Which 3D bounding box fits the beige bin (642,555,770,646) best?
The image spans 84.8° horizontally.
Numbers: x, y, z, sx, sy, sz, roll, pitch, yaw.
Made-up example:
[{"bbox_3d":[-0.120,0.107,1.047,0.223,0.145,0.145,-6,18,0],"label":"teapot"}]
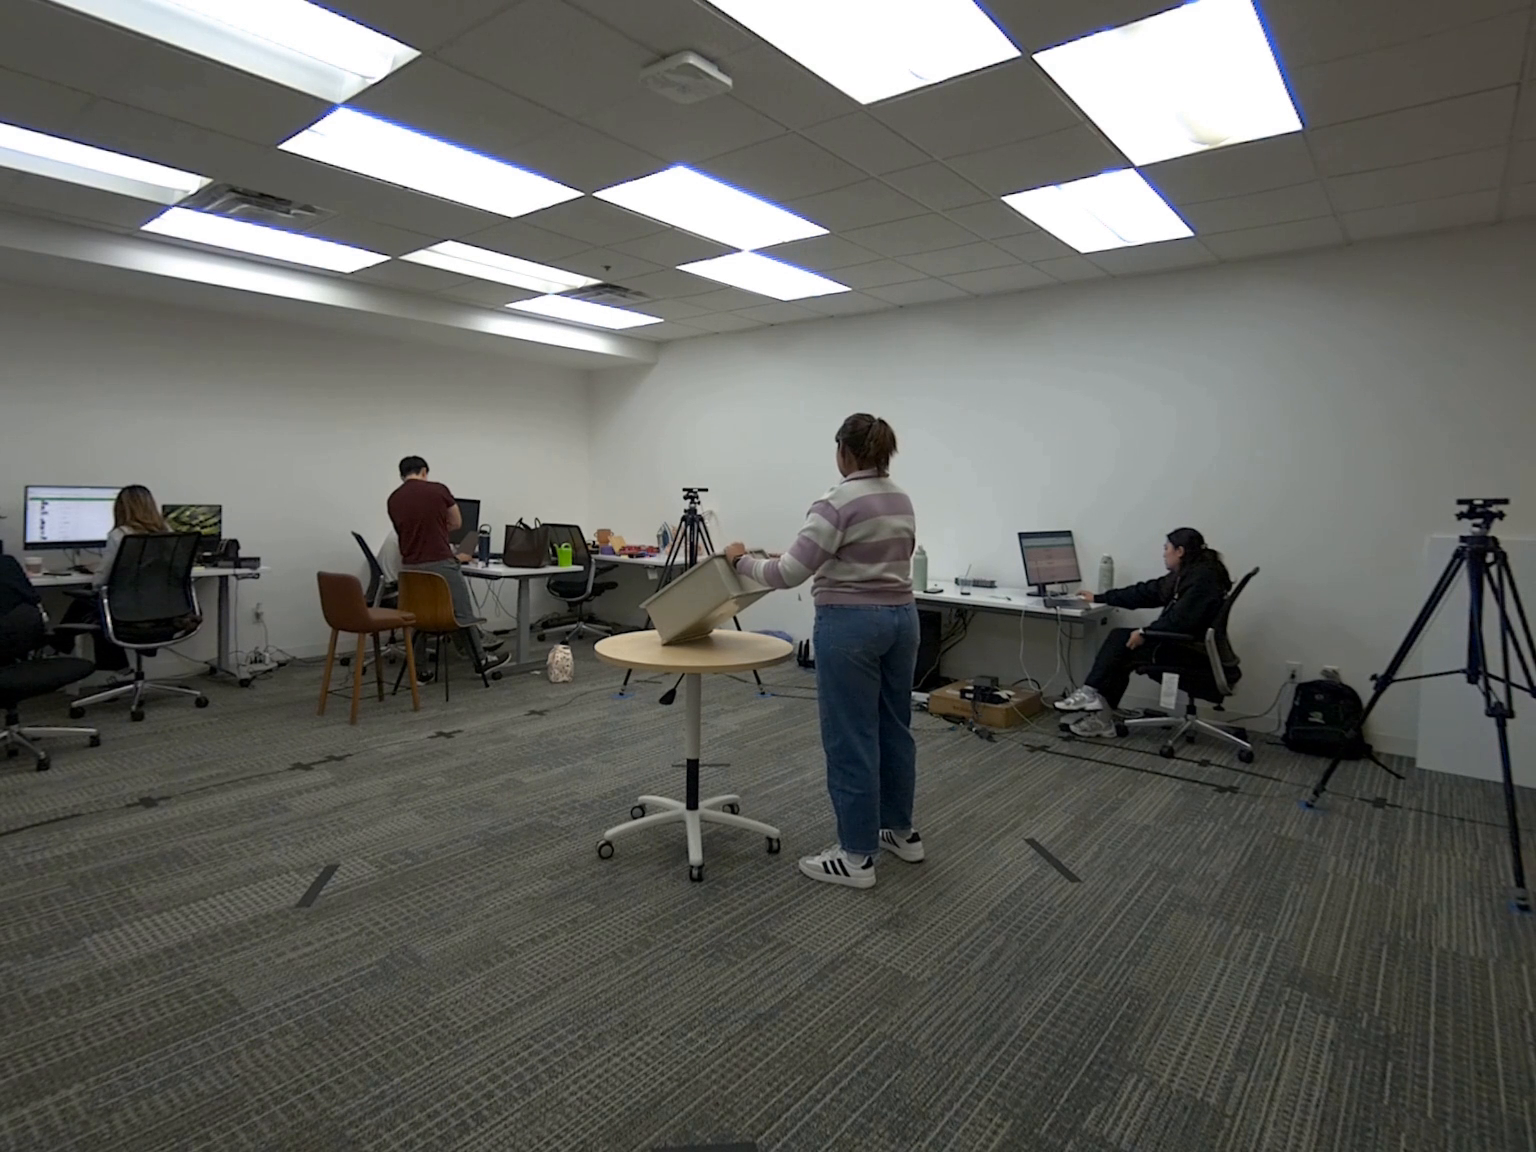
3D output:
[{"bbox_3d":[-0.227,0.079,3.336,0.426,0.192,0.368,-33,-12,31],"label":"beige bin"}]
